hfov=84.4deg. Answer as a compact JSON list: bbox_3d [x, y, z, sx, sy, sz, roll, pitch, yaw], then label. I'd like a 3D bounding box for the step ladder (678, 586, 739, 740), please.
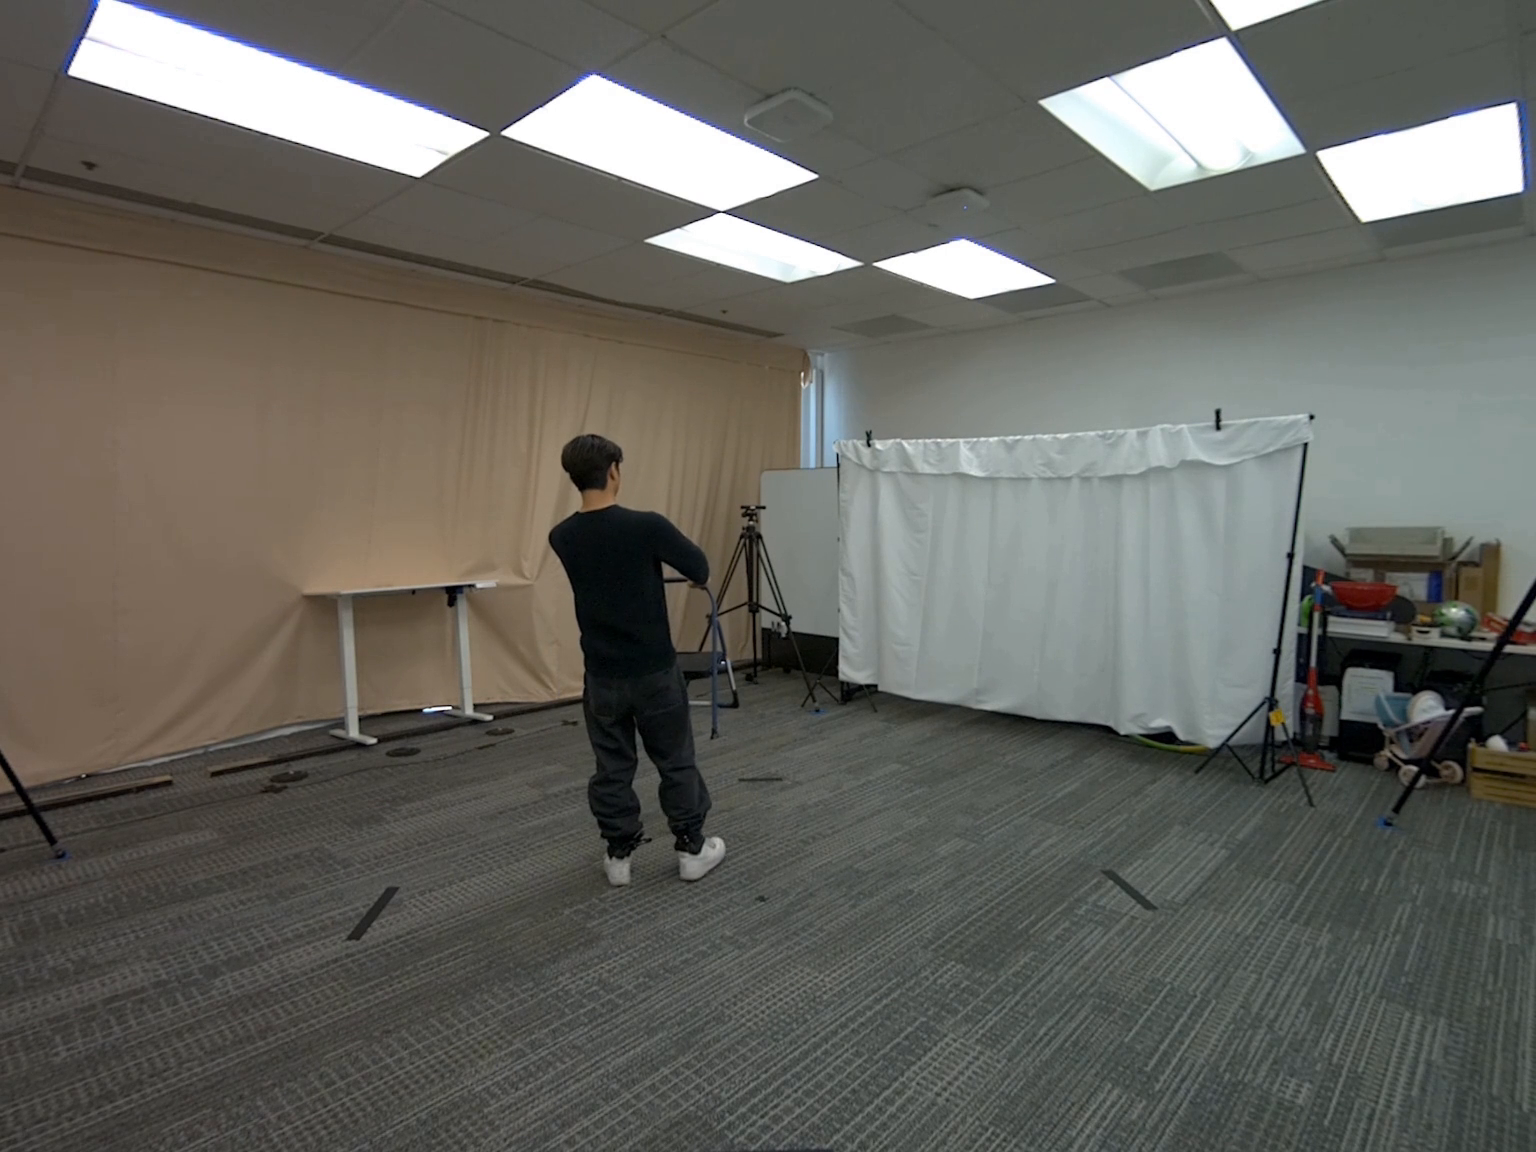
[{"bbox_3d":[-0.389,0.324,3.515,0.438,0.601,0.346,-2,11,17],"label":"step ladder"}]
